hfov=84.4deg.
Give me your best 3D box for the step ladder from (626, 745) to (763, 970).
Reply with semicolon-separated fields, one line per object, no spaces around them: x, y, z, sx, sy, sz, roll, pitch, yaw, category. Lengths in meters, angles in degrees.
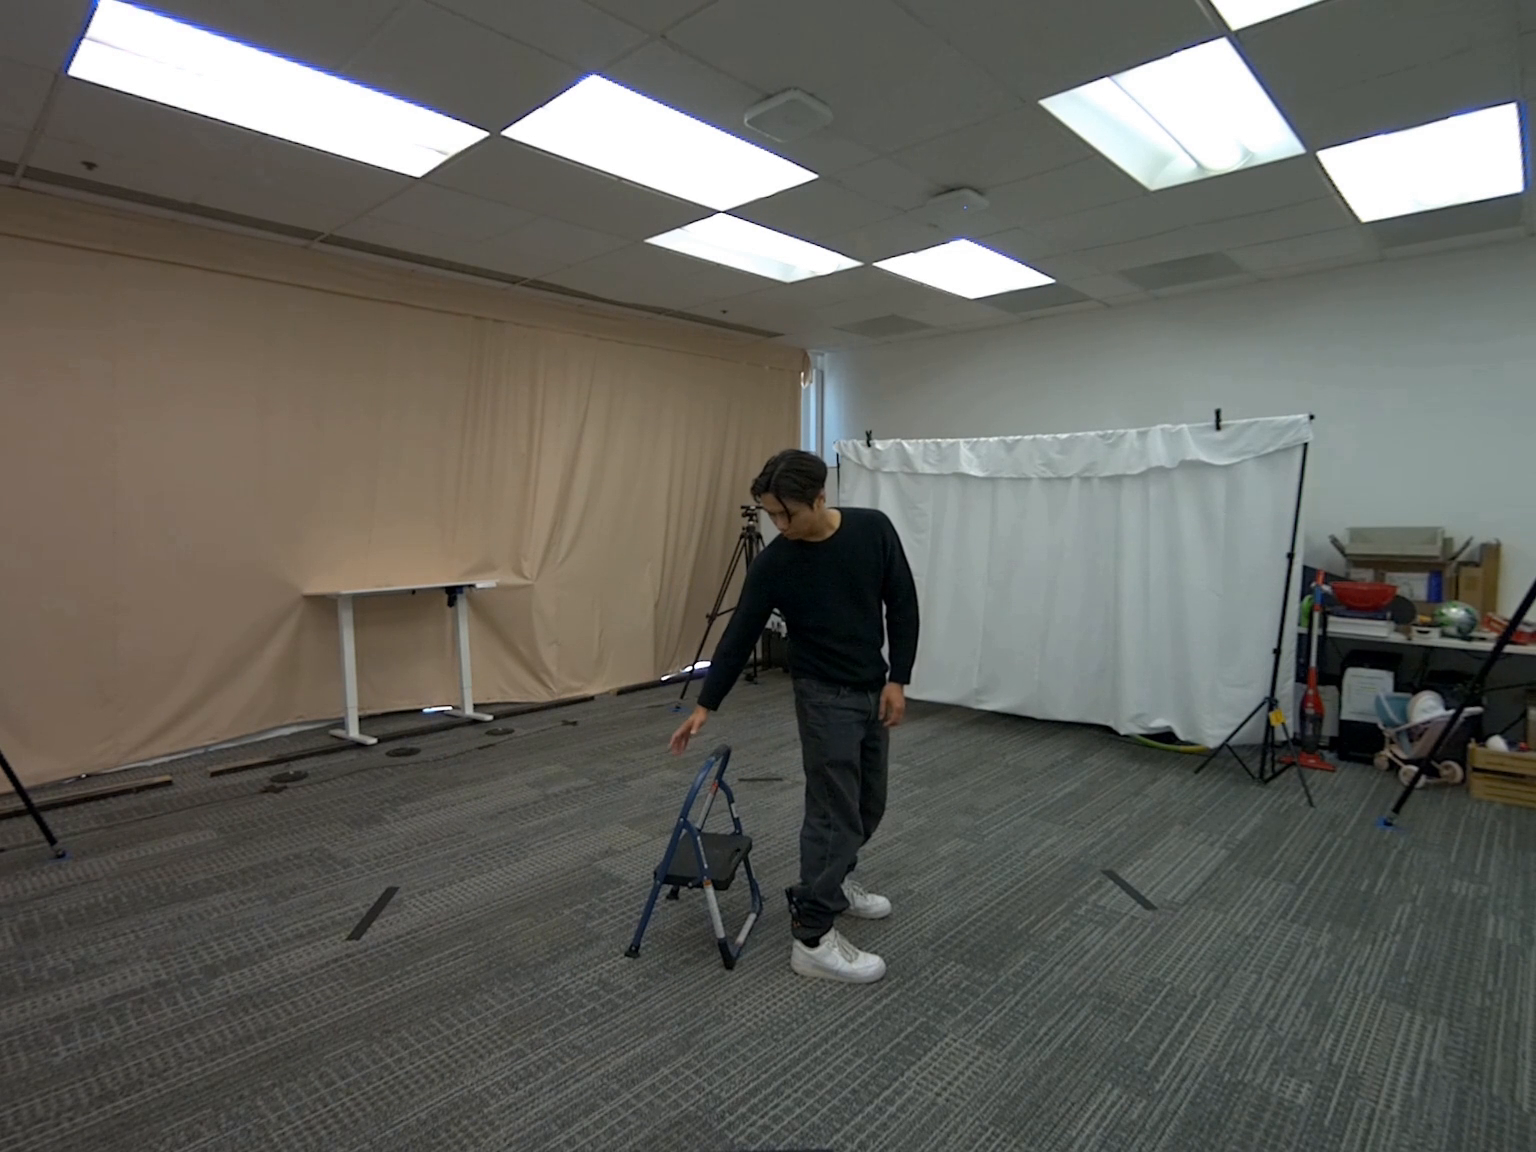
-0.233;0.865;2.749;0.355;0.605;0.425;0;3;14;step ladder
